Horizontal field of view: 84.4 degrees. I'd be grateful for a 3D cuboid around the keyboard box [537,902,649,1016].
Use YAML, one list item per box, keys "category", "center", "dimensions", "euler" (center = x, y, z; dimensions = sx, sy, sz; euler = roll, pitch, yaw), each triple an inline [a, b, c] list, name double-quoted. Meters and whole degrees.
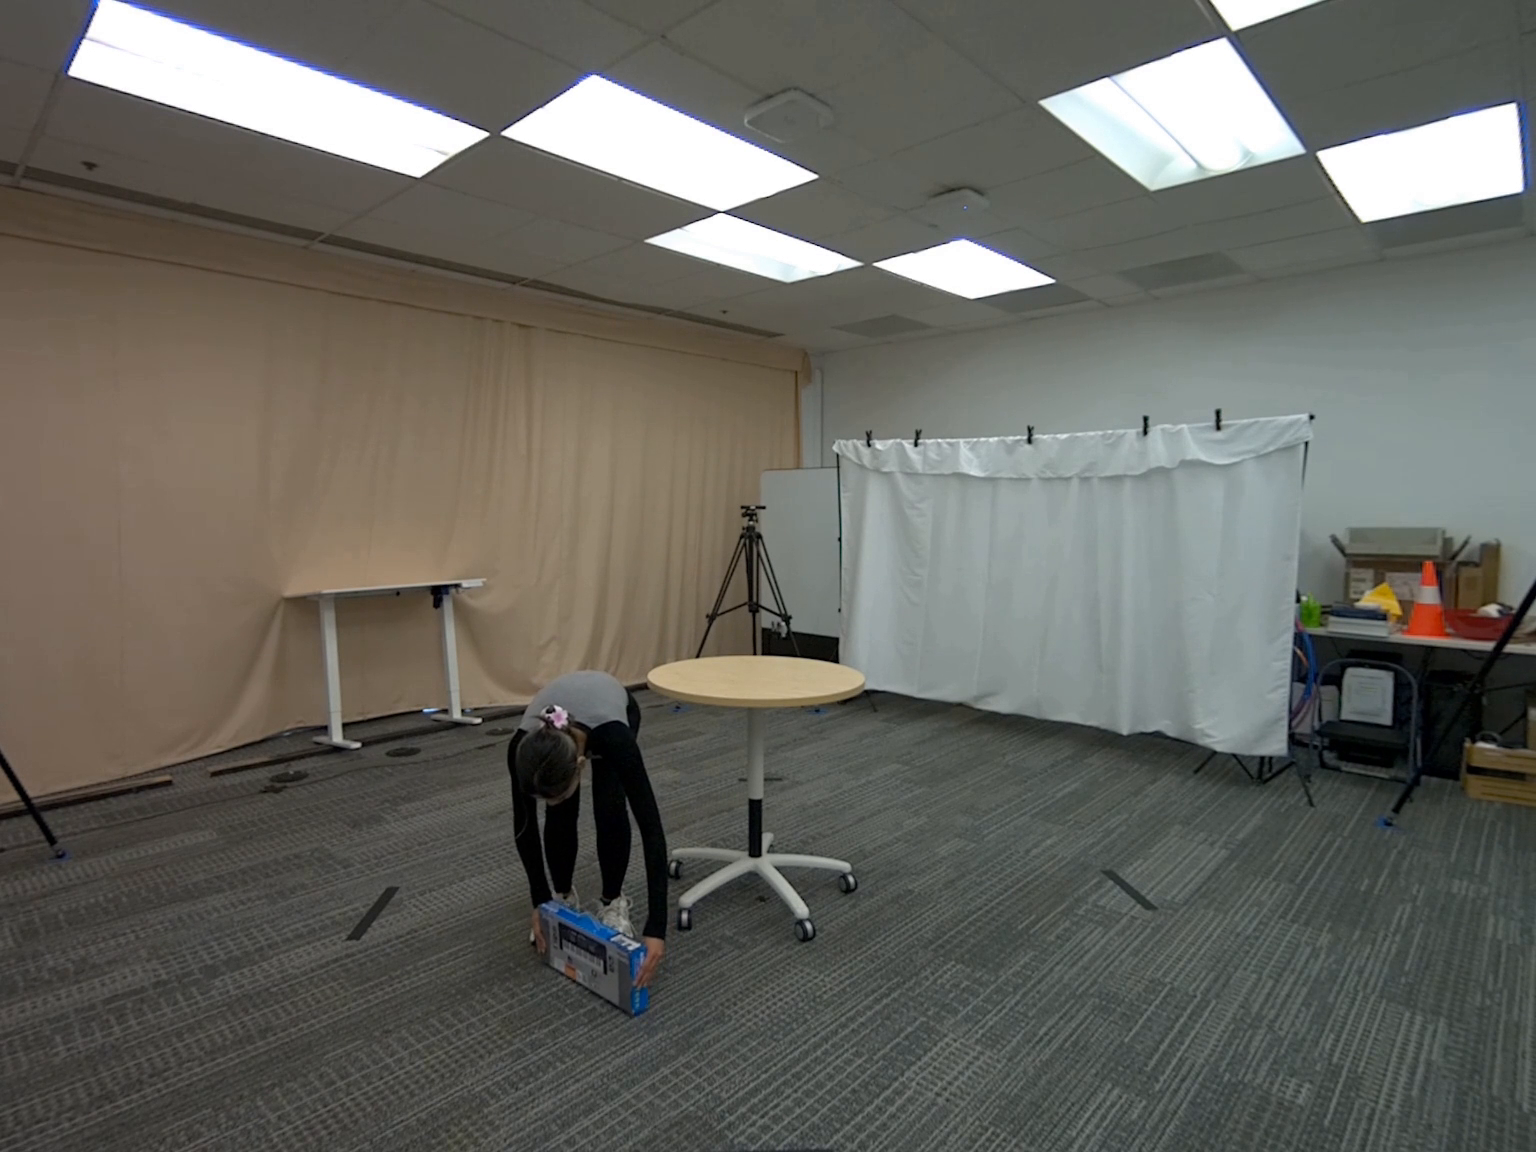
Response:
- category: "keyboard box"
  center: [-0.516, 1.095, 2.442]
  dimensions: [0.451, 0.176, 0.057]
  euler: [2, 4, 42]
